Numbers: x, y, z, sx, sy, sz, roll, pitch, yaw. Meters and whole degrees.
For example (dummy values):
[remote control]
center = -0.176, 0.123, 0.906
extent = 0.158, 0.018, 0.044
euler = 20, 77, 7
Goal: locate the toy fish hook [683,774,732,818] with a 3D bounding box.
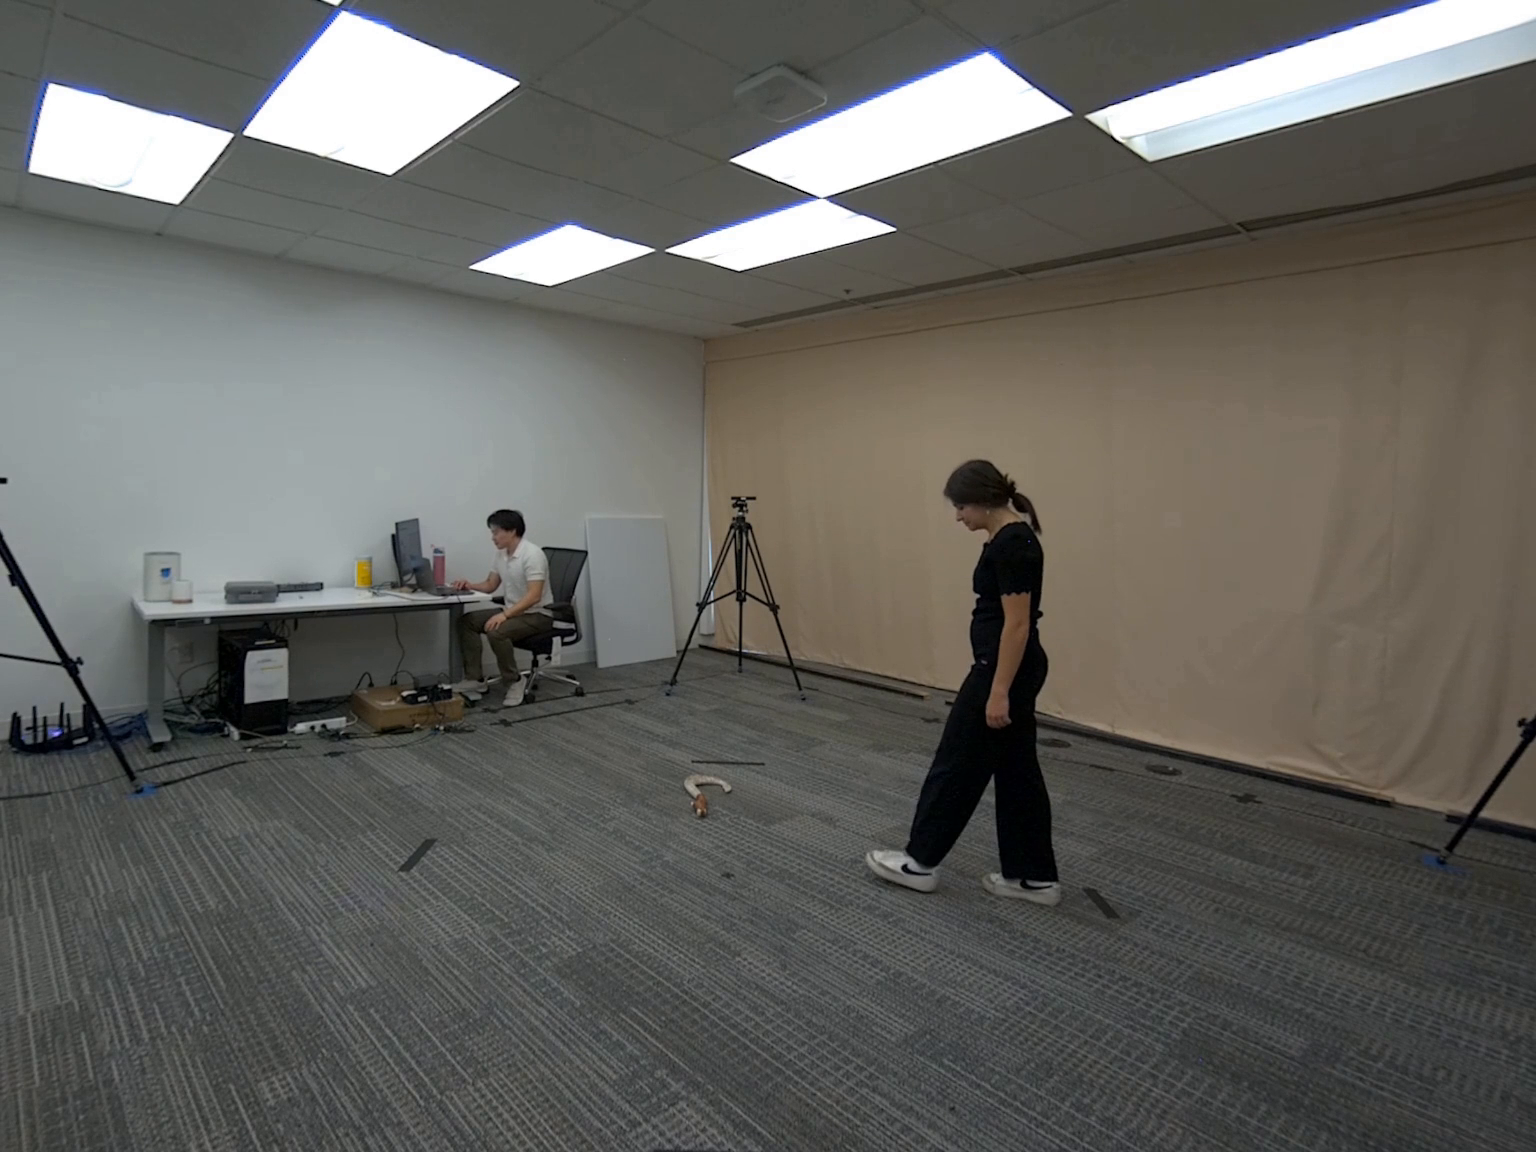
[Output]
[toy fish hook]
center = -0.279, 1.009, 3.898
extent = 0.223, 0.048, 0.511
euler = 0, 5, -8
